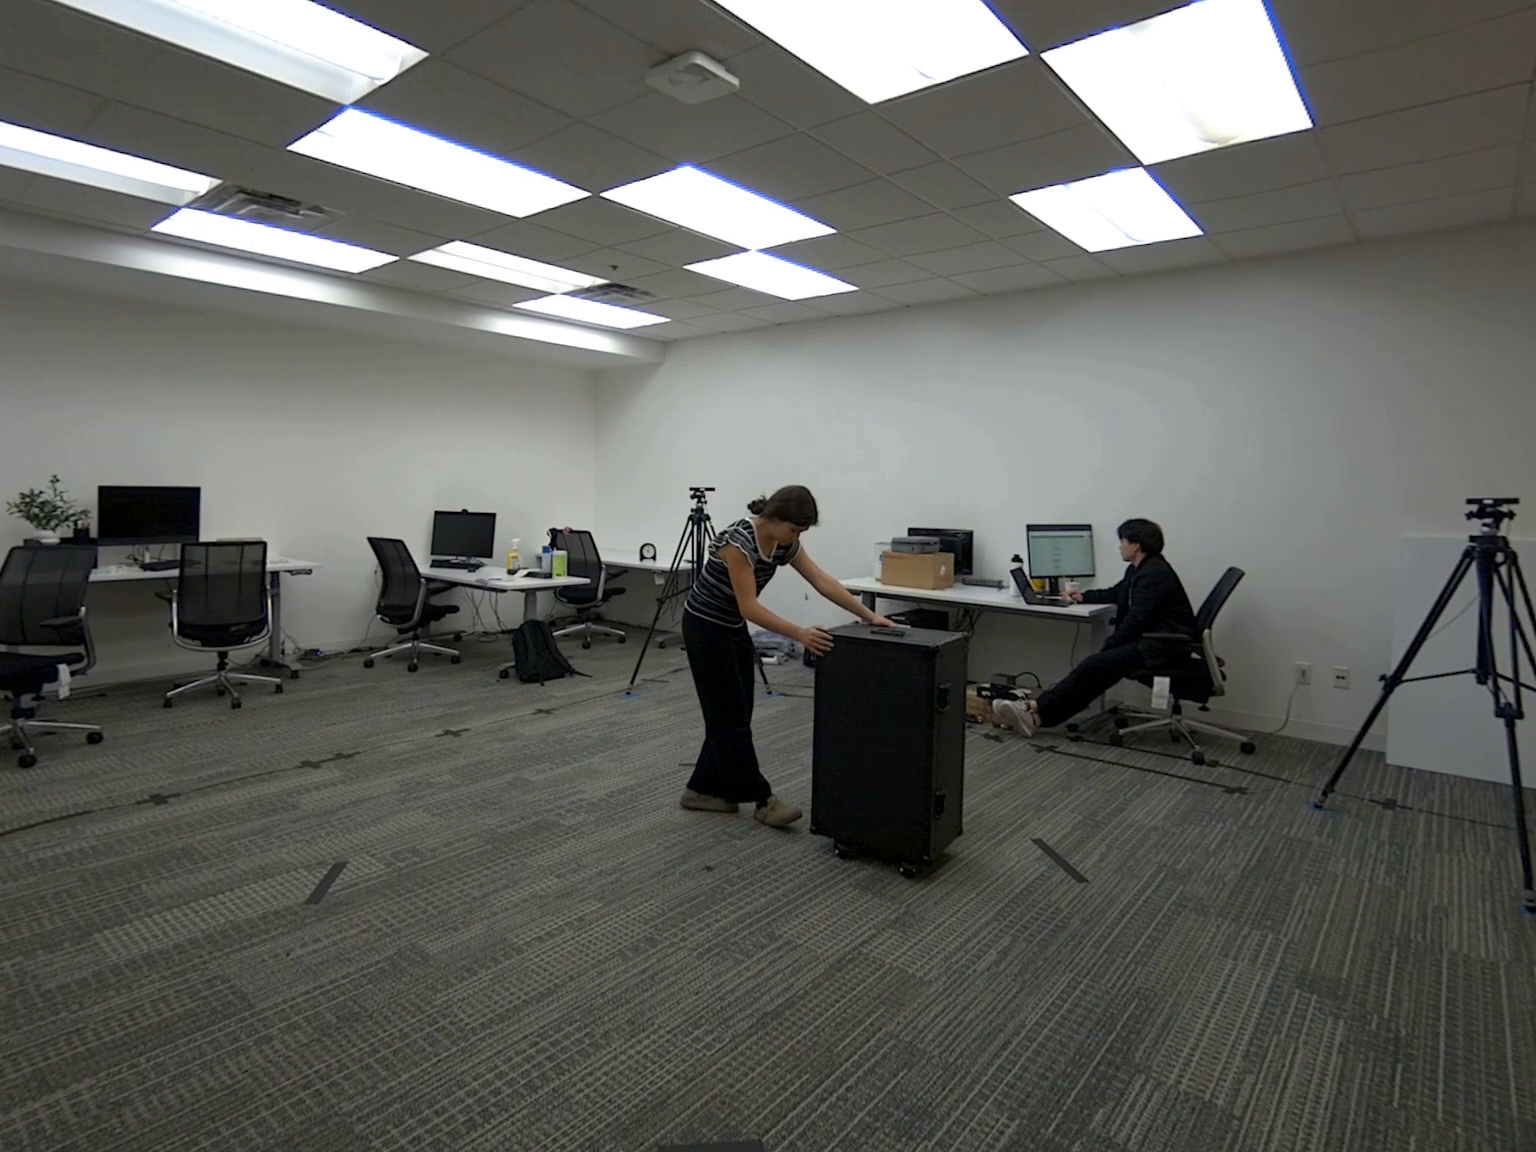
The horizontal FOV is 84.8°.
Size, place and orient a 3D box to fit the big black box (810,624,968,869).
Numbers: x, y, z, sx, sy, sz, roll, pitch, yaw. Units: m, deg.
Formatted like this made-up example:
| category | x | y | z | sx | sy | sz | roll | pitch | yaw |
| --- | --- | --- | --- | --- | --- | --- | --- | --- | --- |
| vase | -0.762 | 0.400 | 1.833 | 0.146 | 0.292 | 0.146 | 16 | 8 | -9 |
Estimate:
| category | x | y | z | sx | sy | sz | roll | pitch | yaw |
| --- | --- | --- | --- | --- | --- | --- | --- | --- | --- |
| big black box | 0.458 | 0.641 | 3.289 | 0.537 | 0.860 | 0.385 | 3 | 3 | 33 |
